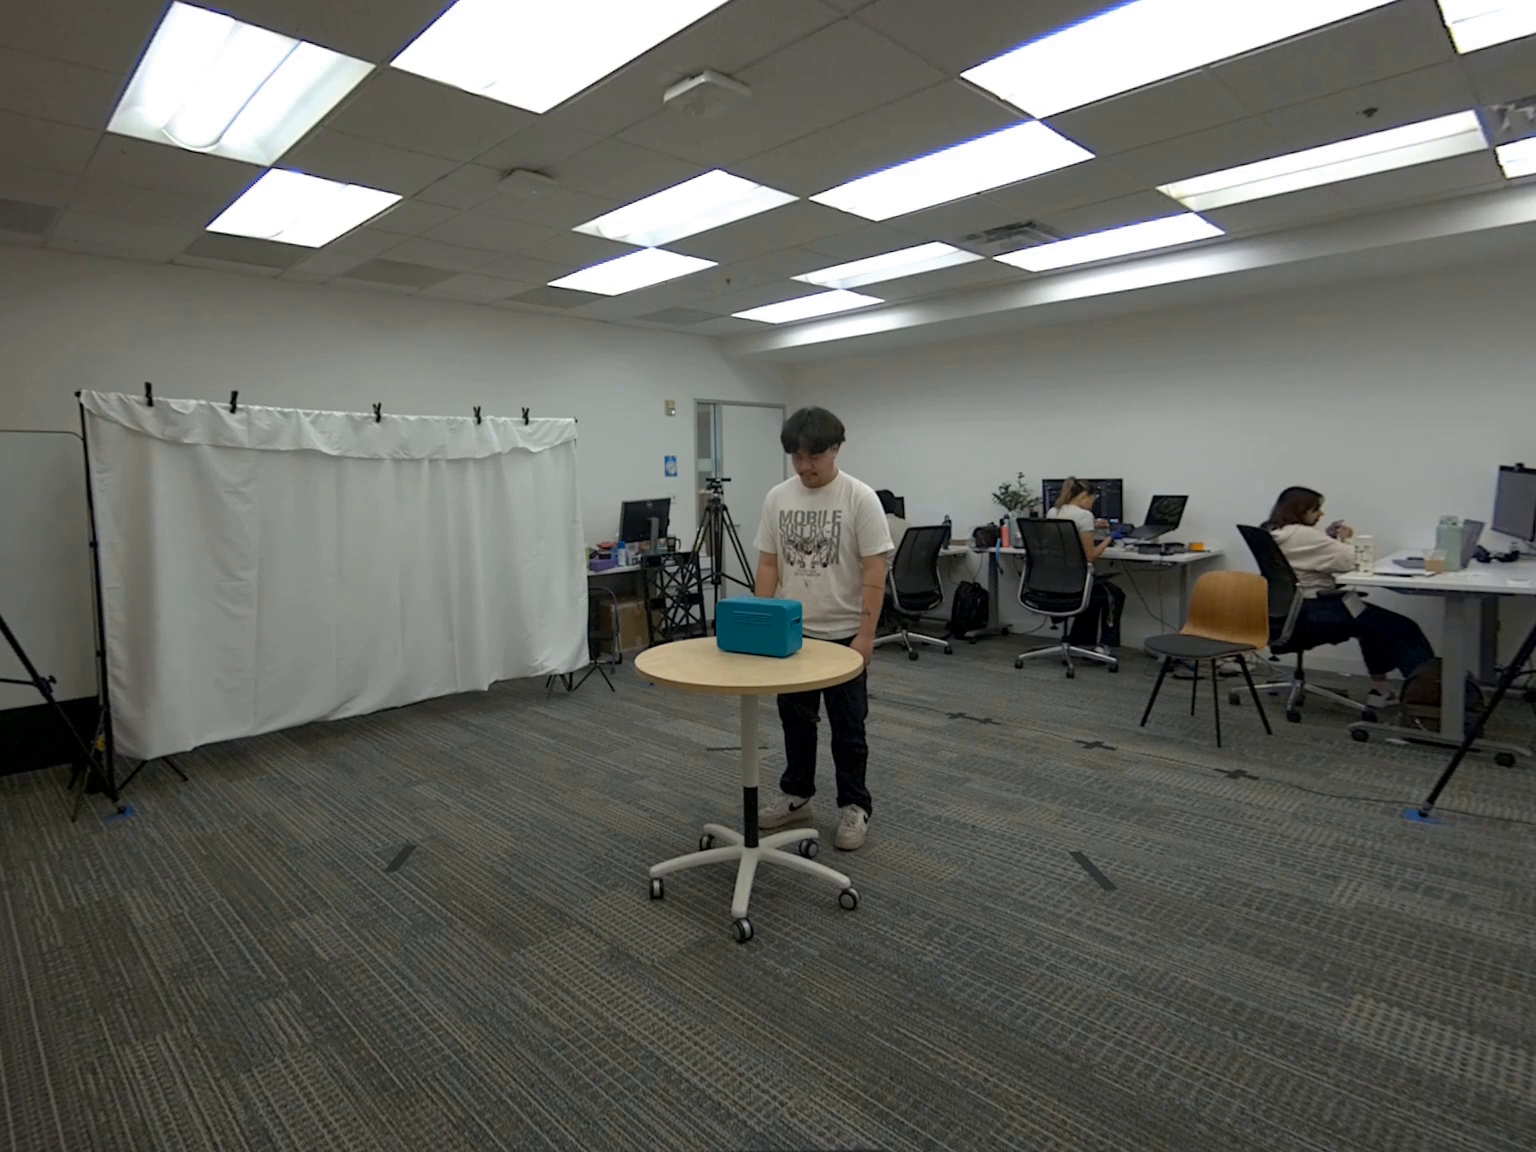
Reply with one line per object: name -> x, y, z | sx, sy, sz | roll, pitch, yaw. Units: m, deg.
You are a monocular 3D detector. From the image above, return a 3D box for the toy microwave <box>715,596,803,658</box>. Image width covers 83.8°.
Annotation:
toy microwave -> -0.025, 0.172, 2.965 | 0.294, 0.183, 0.149 | 2, 5, 31
